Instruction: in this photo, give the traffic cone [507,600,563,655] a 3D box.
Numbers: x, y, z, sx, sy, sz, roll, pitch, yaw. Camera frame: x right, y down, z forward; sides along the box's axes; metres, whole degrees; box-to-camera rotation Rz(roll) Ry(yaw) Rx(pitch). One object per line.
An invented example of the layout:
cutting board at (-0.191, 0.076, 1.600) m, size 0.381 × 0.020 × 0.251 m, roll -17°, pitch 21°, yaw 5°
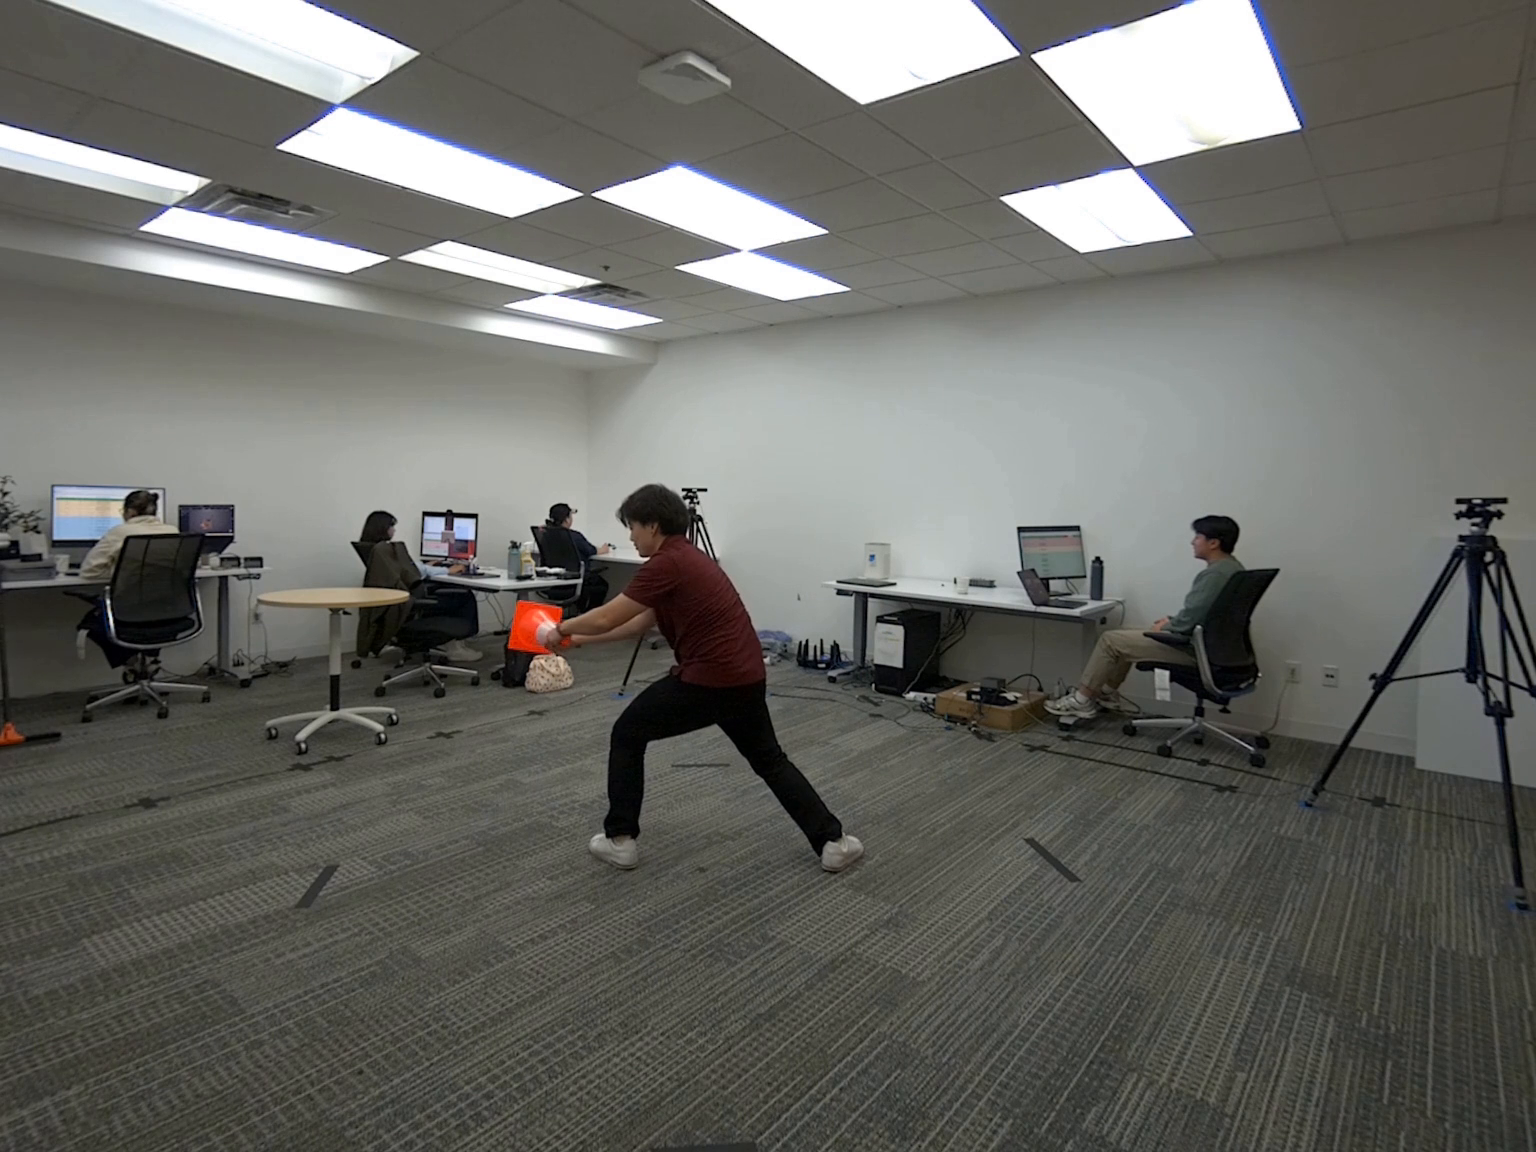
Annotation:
traffic cone at (-0.871, 0.227, 3.328) m, size 0.197 × 0.205 × 0.395 m, roll 13°, pitch -1°, yaw -29°
